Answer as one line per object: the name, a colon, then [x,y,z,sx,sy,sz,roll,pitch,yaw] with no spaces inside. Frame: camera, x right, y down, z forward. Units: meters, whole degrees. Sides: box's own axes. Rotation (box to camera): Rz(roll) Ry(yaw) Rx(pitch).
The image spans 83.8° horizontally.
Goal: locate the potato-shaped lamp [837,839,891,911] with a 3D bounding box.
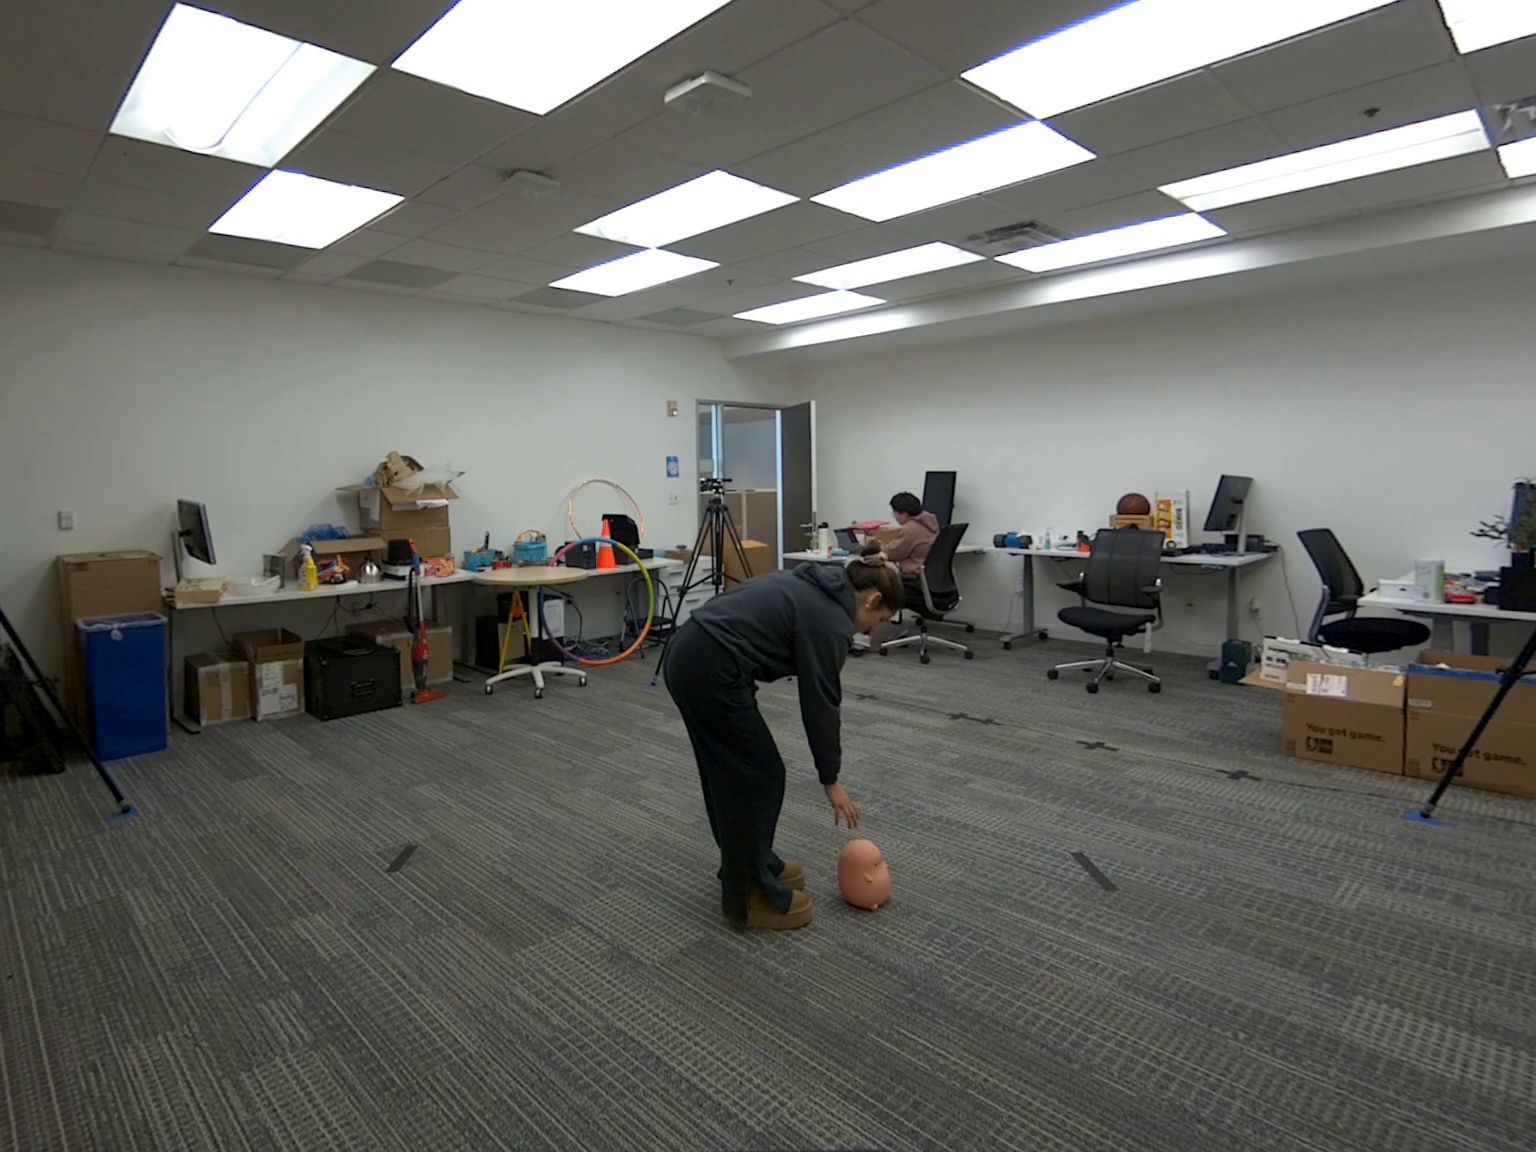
potato-shaped lamp: [0.311,0.967,2.794,0.176,0.197,0.160,2,5,41]
